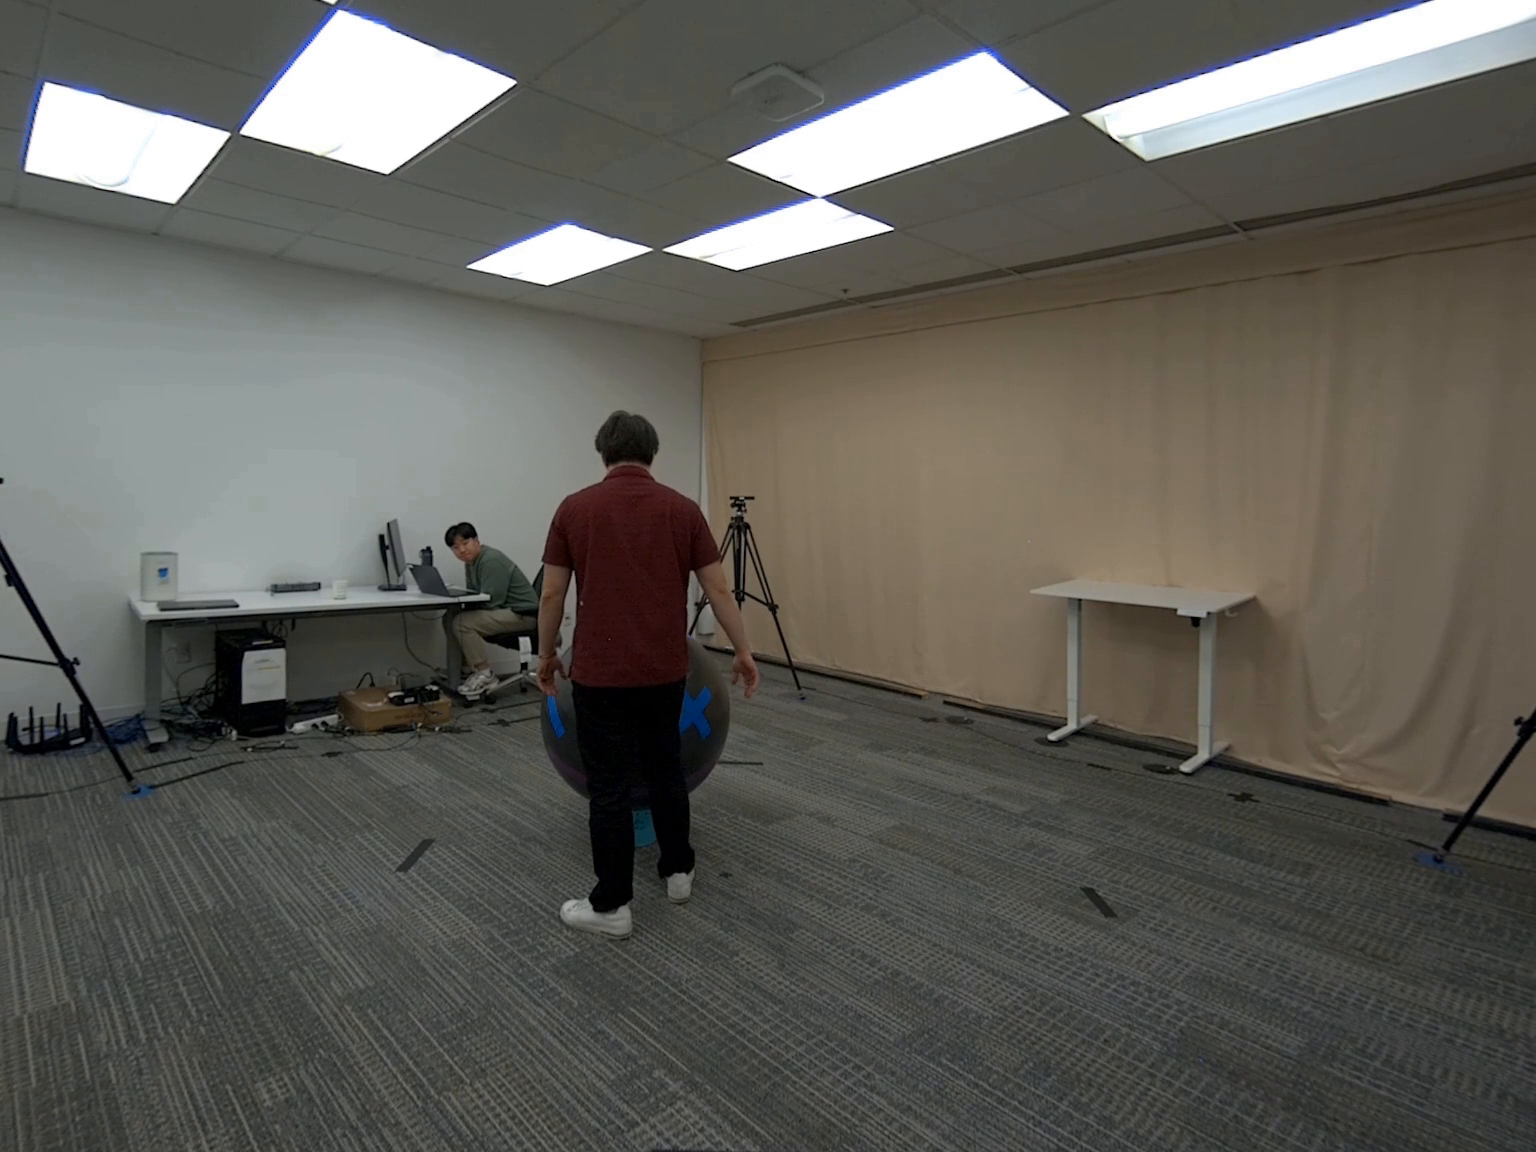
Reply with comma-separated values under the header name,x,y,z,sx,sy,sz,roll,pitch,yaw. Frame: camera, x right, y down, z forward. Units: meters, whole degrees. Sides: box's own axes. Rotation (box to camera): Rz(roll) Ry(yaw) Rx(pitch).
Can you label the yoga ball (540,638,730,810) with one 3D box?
name,x,y,z,sx,sy,sz,roll,pitch,yaw
yoga ball,-0.538,0.558,3.406,0.757,0.756,0.761,1,4,-1
